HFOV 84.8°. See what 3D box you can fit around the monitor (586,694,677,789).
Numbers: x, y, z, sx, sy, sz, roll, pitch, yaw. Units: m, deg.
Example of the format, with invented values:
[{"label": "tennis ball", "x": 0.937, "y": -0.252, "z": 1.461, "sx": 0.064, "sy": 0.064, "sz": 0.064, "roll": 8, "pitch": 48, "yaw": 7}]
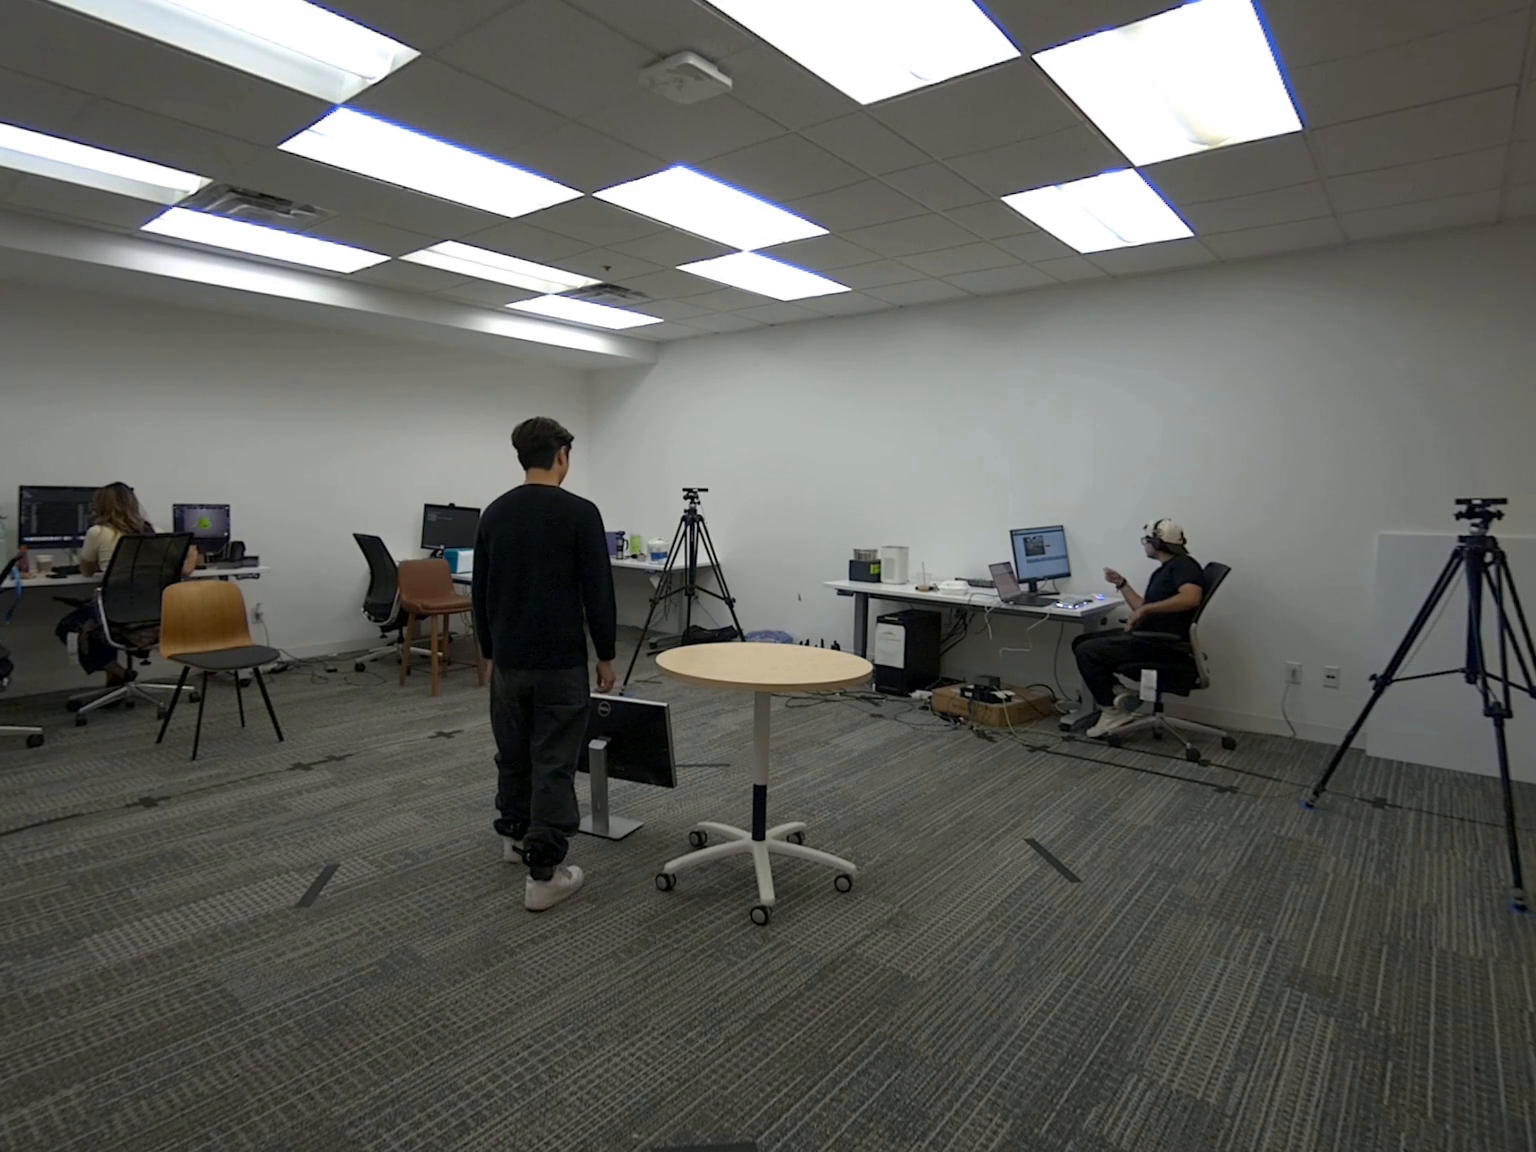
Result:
[{"label": "monitor", "x": -0.668, "y": 0.759, "z": 3.471, "sx": 0.552, "sy": 0.522, "sz": 0.182, "roll": 3, "pitch": 1, "yaw": 24}]
